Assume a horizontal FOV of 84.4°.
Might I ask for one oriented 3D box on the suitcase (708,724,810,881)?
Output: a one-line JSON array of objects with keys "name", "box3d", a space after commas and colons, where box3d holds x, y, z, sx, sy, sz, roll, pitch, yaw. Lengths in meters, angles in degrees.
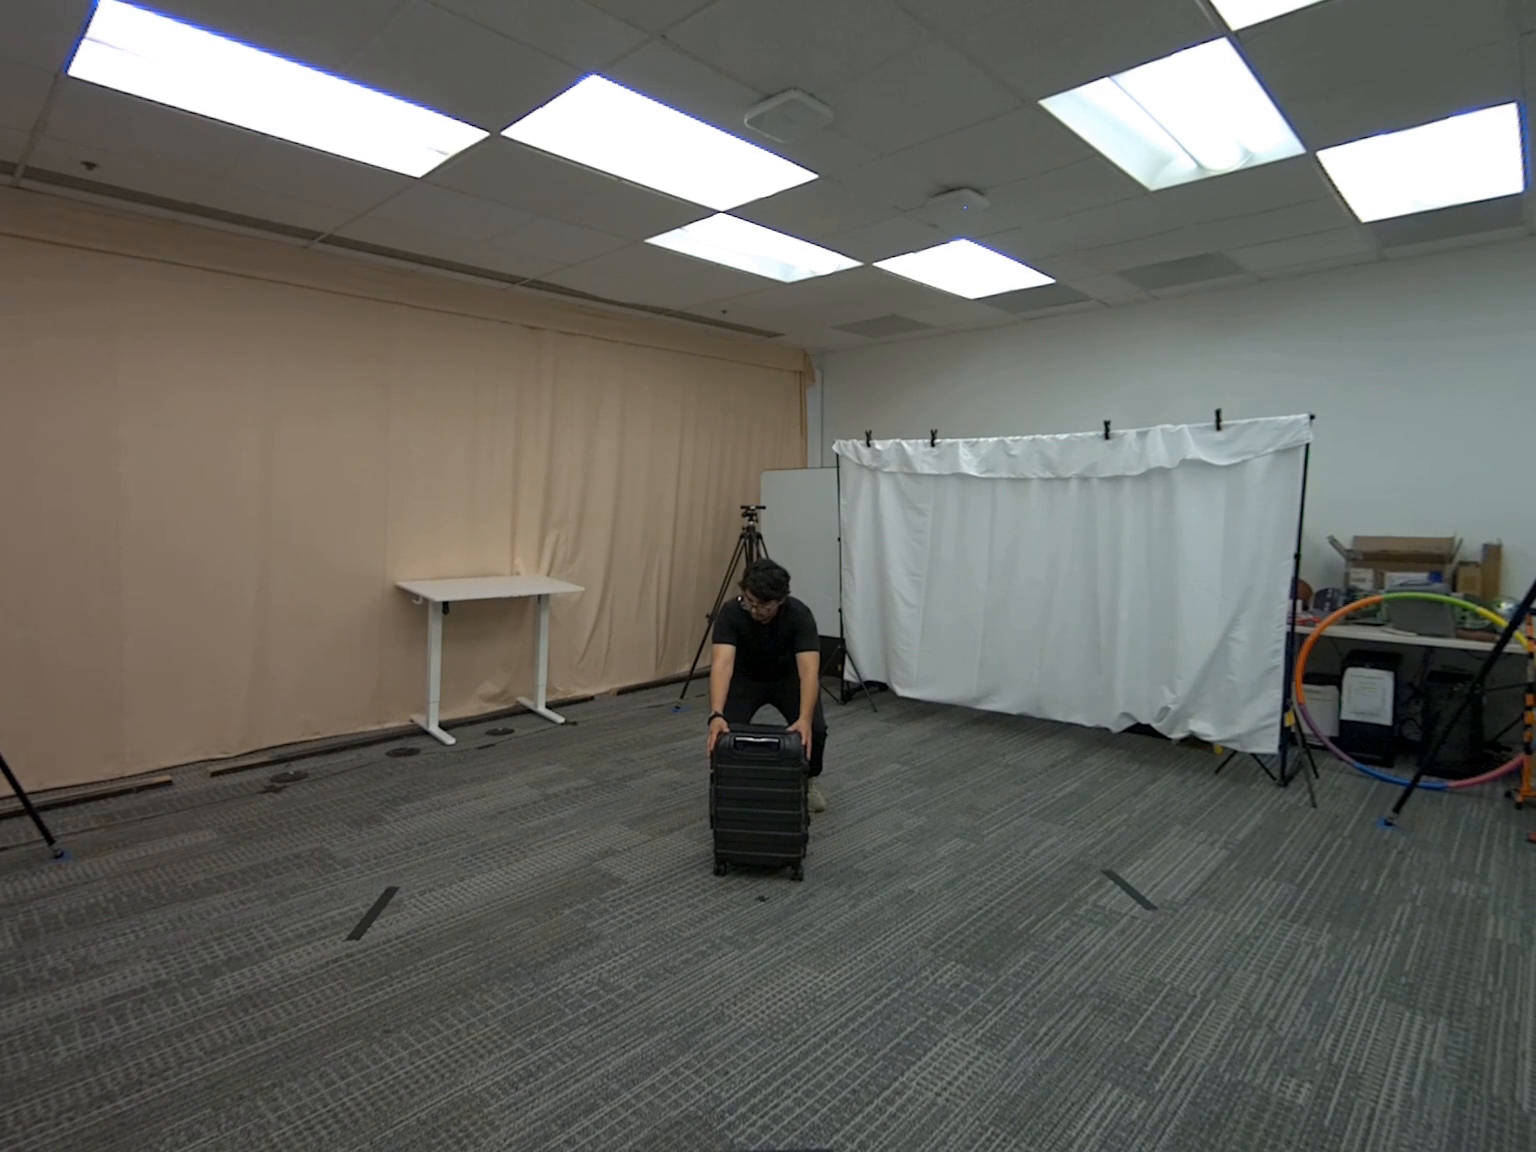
[{"name": "suitcase", "box3d": [-0.033, 0.846, 3.239, 0.379, 0.547, 0.247, -1, 5, 7]}]
